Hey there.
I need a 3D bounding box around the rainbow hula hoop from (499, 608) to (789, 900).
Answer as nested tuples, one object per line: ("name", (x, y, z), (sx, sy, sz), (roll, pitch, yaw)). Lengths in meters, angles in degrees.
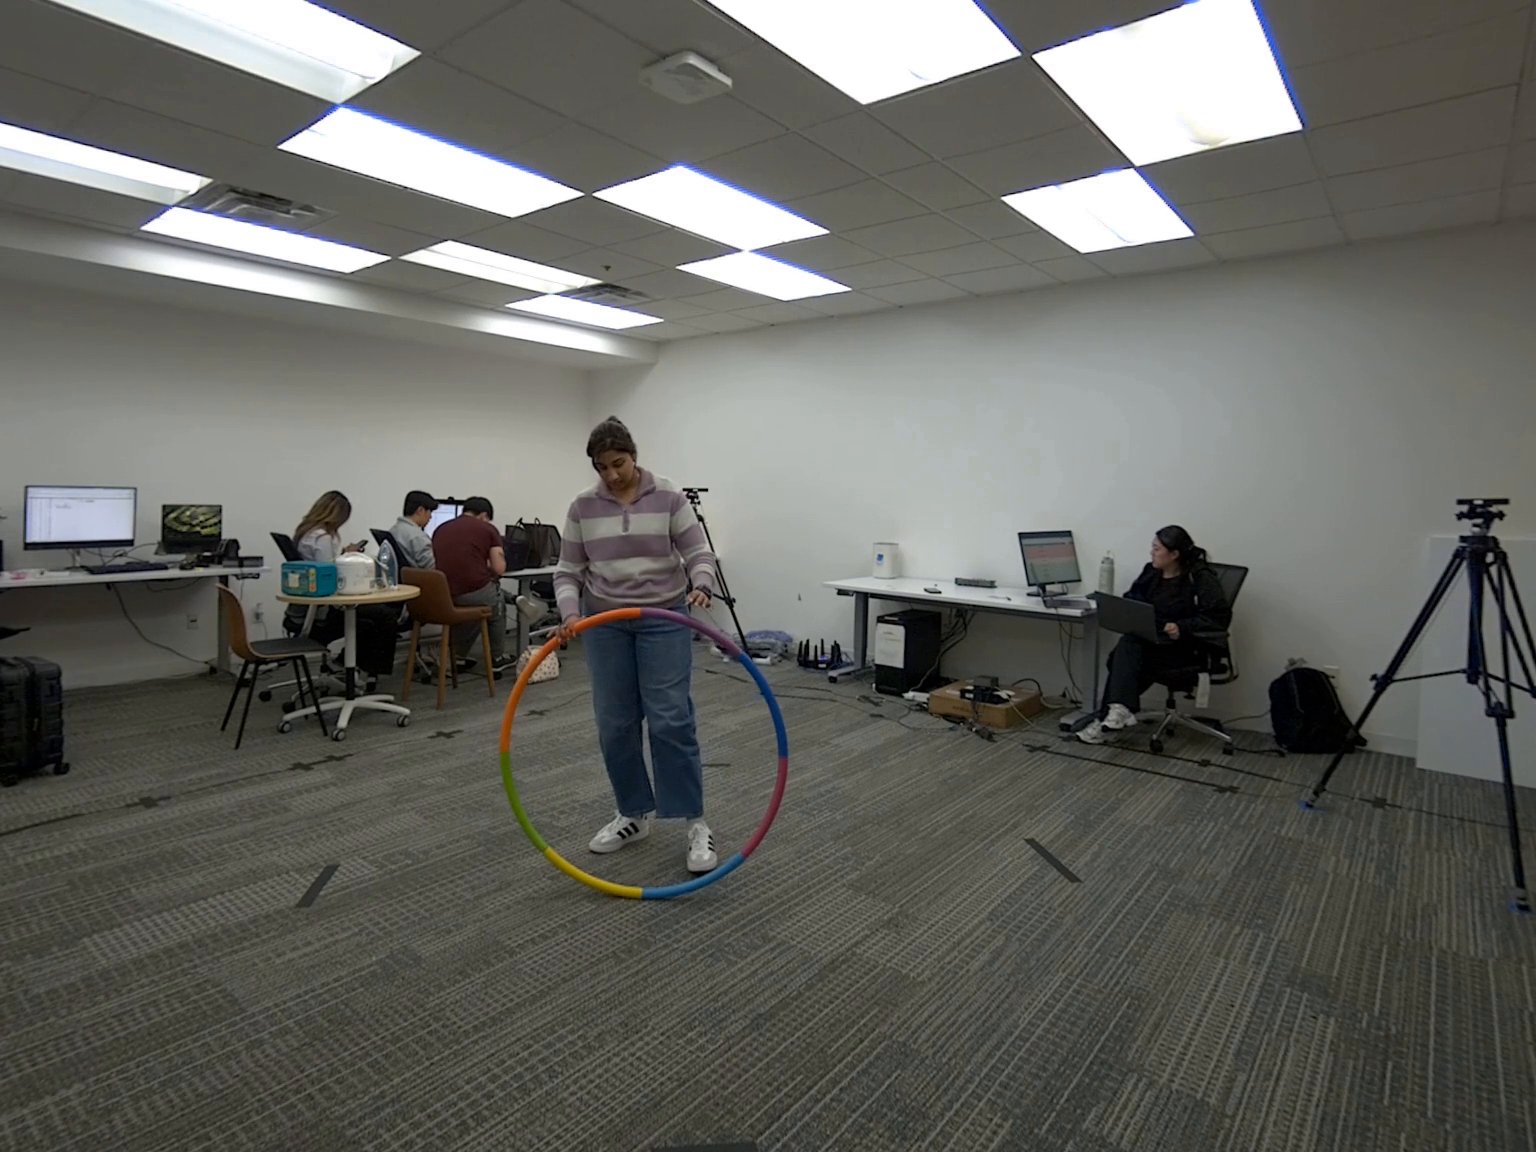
("rainbow hula hoop", (-0.437, 0.600, 2.890), (0.990, 0.986, 0.051), (1, -1, 4))
